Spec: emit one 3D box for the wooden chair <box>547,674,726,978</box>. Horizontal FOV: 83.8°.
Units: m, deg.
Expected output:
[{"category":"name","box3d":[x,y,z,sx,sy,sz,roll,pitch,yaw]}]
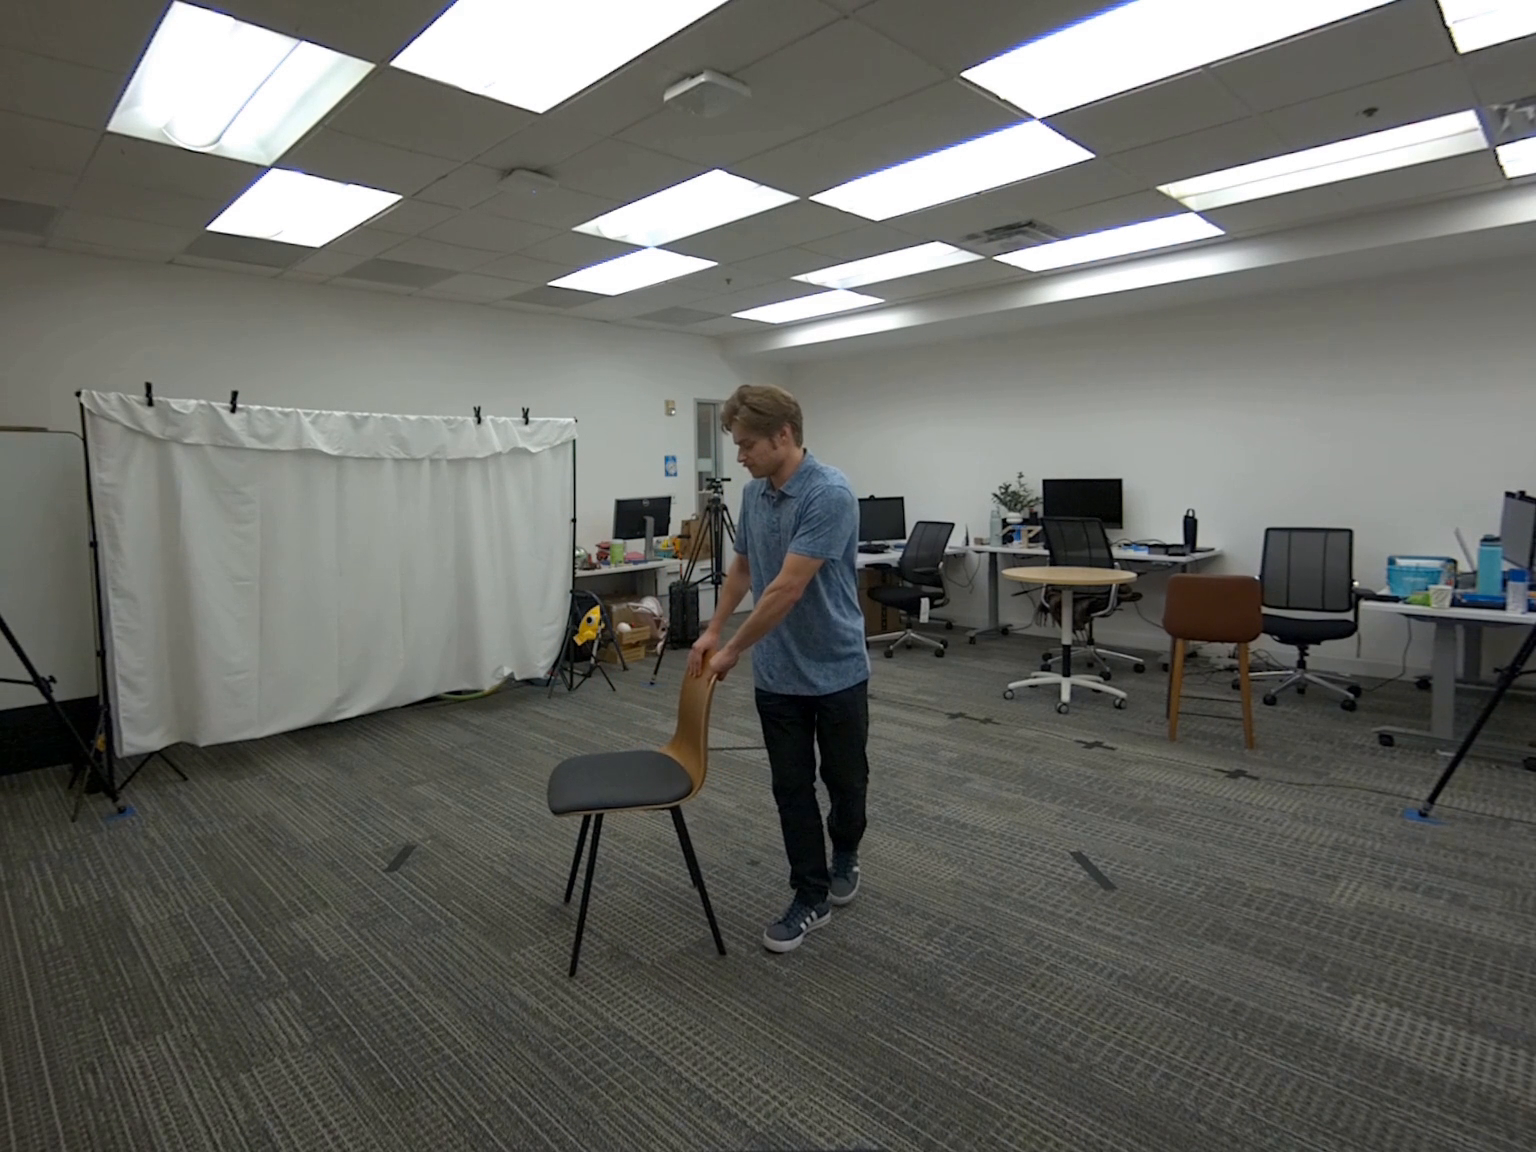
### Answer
[{"category":"wooden chair","box3d":[-0.412,0.671,2.639,0.516,0.875,0.486,2,4,-14]}]
